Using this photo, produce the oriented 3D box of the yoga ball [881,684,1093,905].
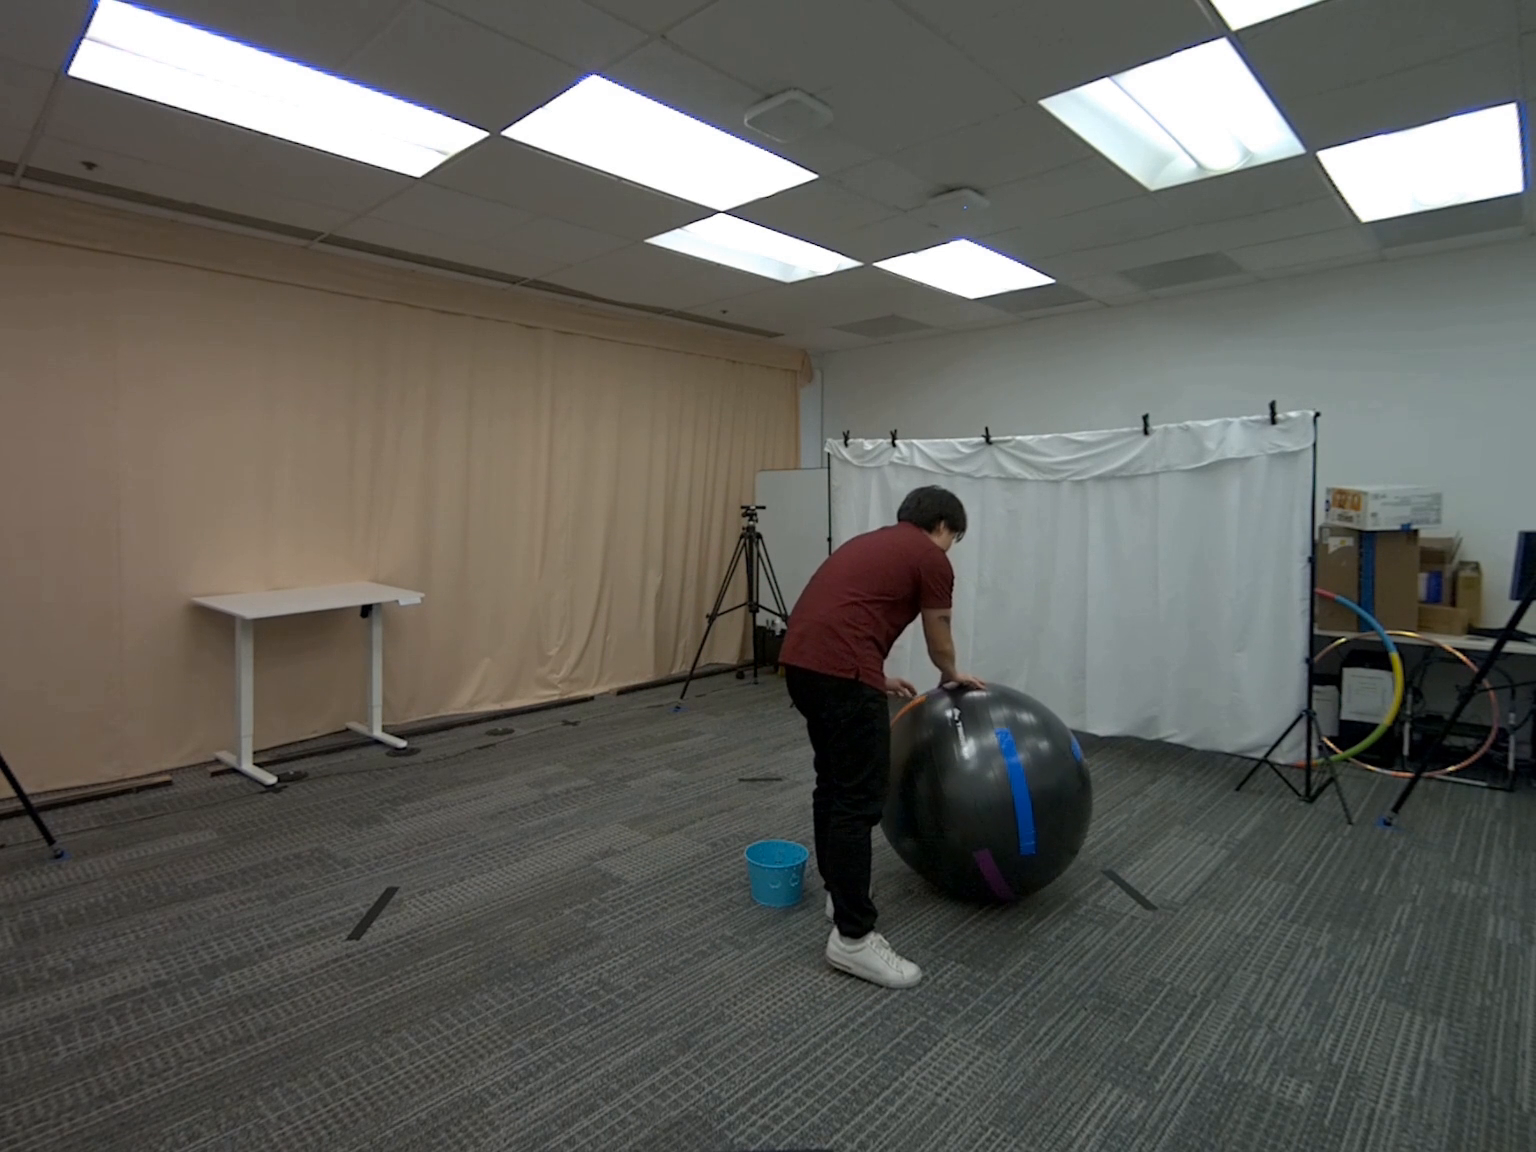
[{"bbox_3d":[0.776,0.773,3.052,0.757,0.756,0.760,0,4,-2],"label":"yoga ball"}]
